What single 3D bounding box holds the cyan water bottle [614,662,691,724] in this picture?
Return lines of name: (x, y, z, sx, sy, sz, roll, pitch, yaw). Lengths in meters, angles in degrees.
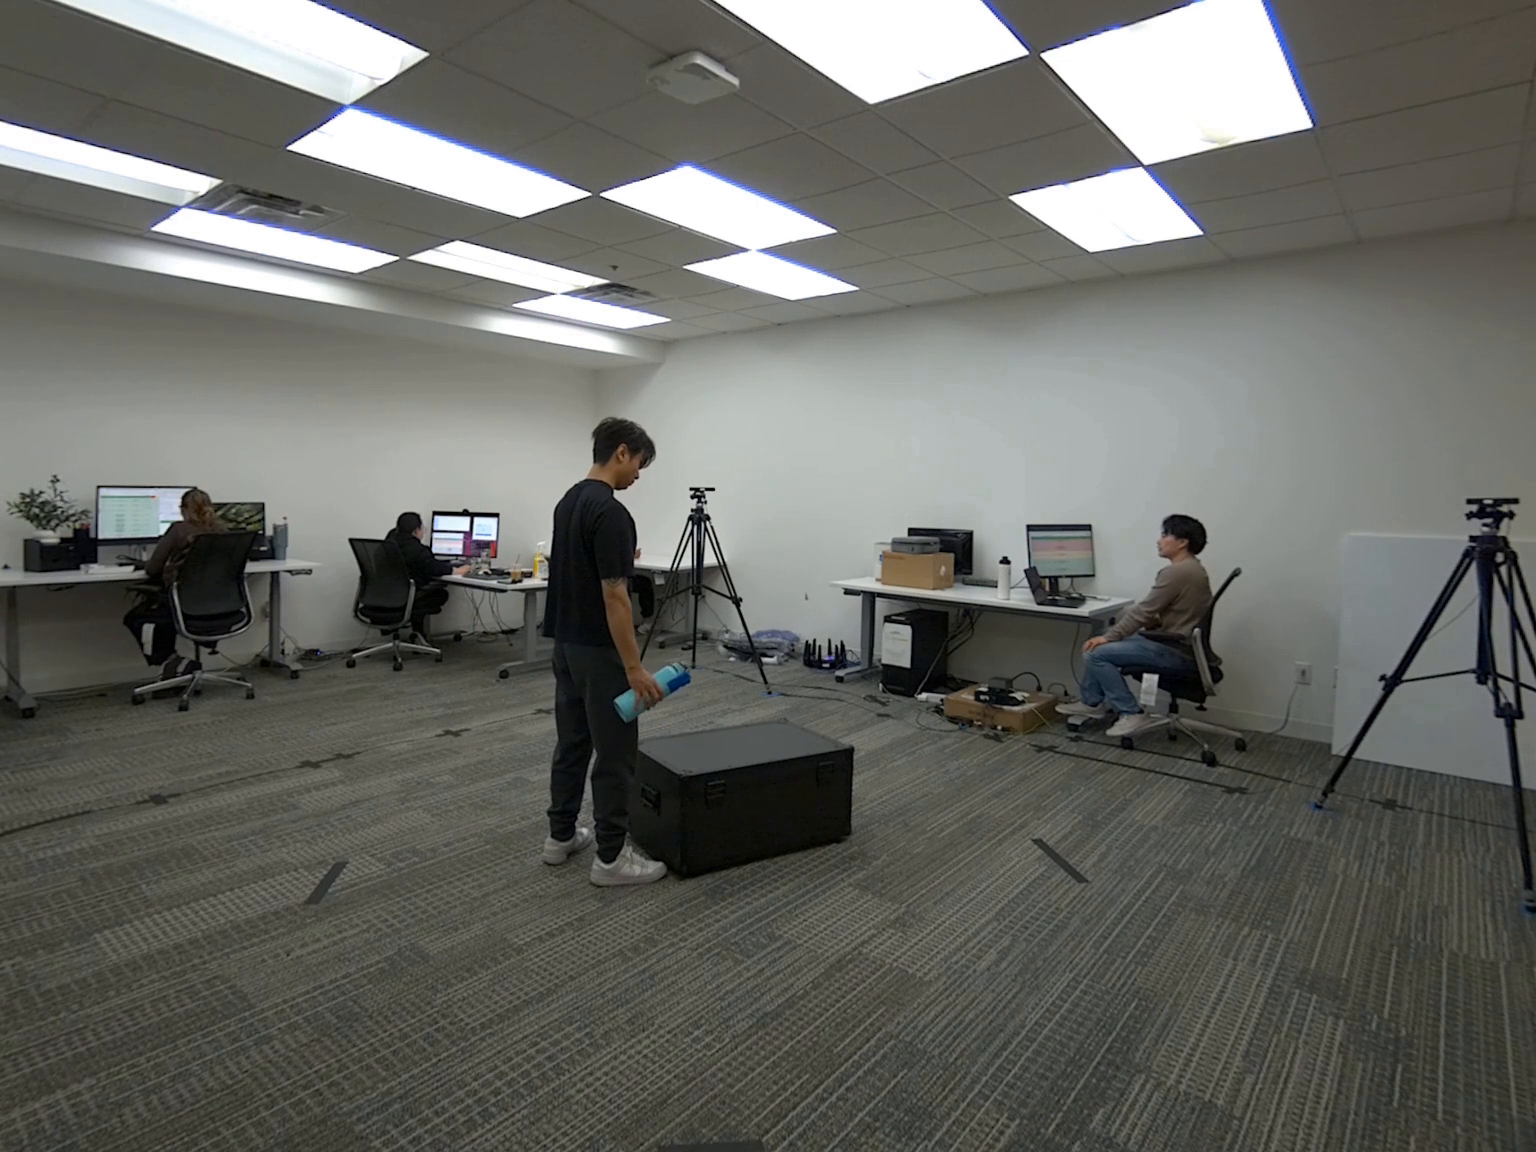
cyan water bottle: (-0.390, 0.378, 2.918, 0.281, 0.090, 0.095, -31, 18, -22)
